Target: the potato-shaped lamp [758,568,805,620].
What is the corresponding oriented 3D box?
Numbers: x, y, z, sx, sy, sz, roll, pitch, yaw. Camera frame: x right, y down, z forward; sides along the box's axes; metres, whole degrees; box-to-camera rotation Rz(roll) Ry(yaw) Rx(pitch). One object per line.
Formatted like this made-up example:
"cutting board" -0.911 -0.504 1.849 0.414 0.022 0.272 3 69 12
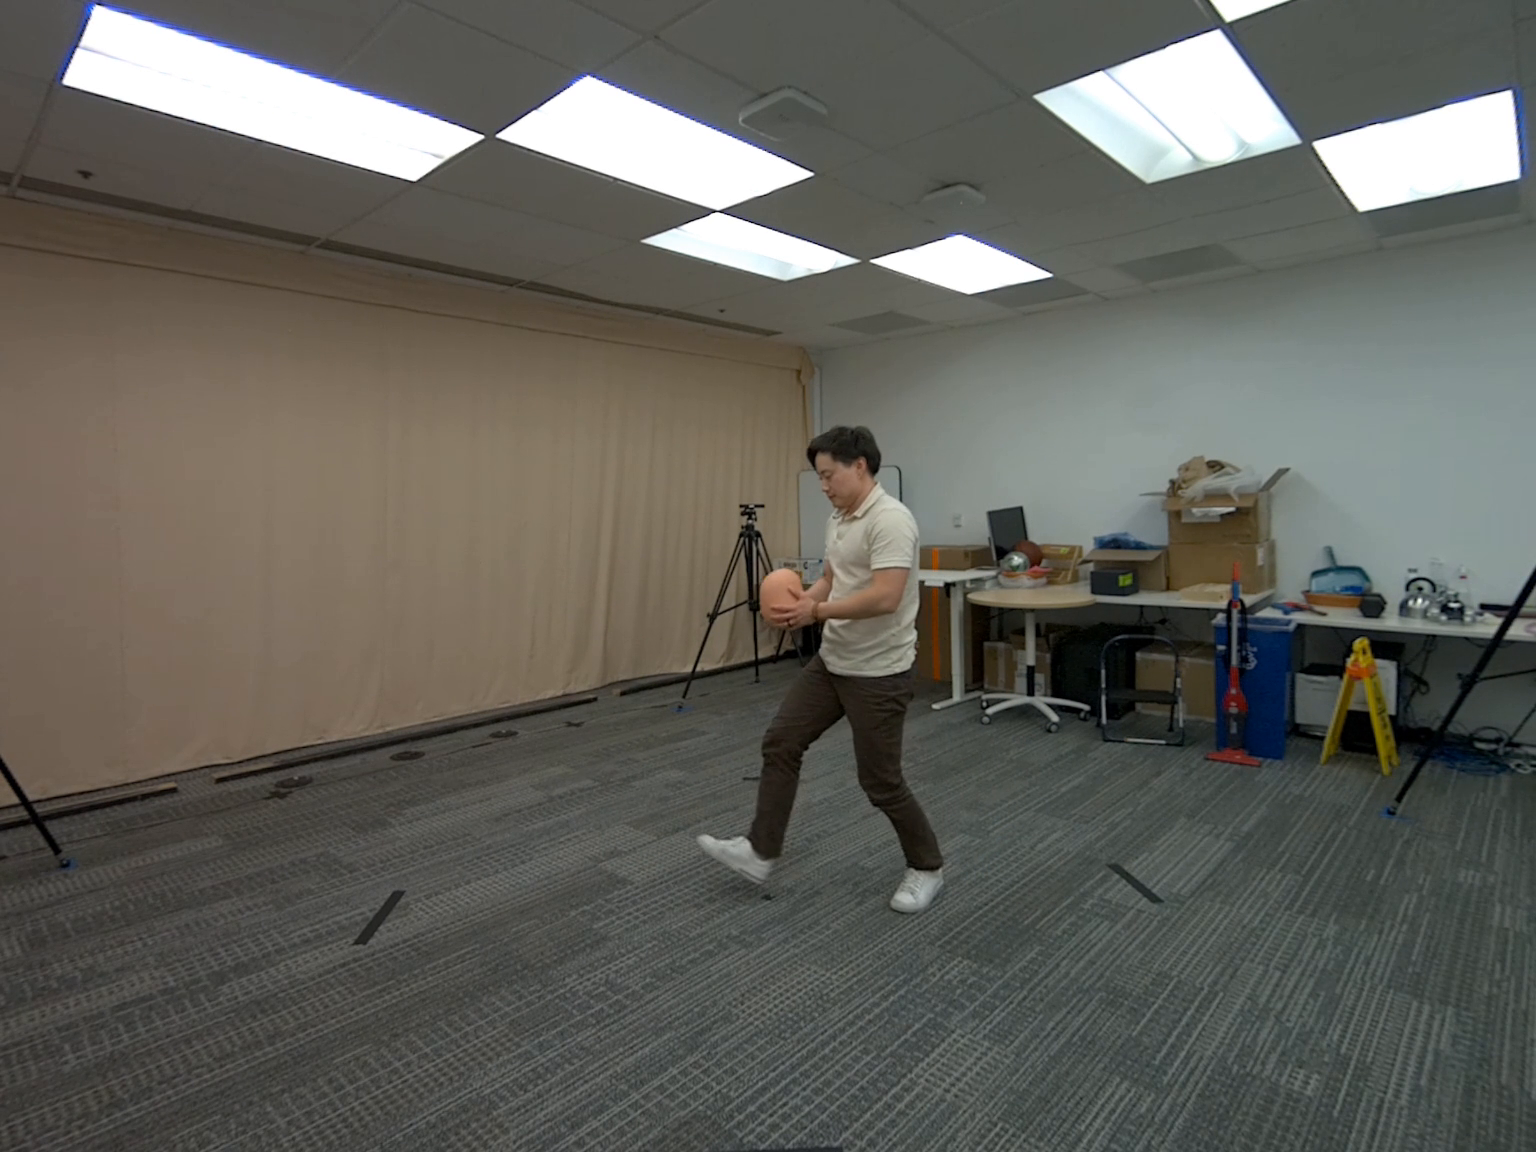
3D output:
"potato-shaped lamp" 0.054 0.087 2.845 0.170 0.198 0.166 -11 1 -9
